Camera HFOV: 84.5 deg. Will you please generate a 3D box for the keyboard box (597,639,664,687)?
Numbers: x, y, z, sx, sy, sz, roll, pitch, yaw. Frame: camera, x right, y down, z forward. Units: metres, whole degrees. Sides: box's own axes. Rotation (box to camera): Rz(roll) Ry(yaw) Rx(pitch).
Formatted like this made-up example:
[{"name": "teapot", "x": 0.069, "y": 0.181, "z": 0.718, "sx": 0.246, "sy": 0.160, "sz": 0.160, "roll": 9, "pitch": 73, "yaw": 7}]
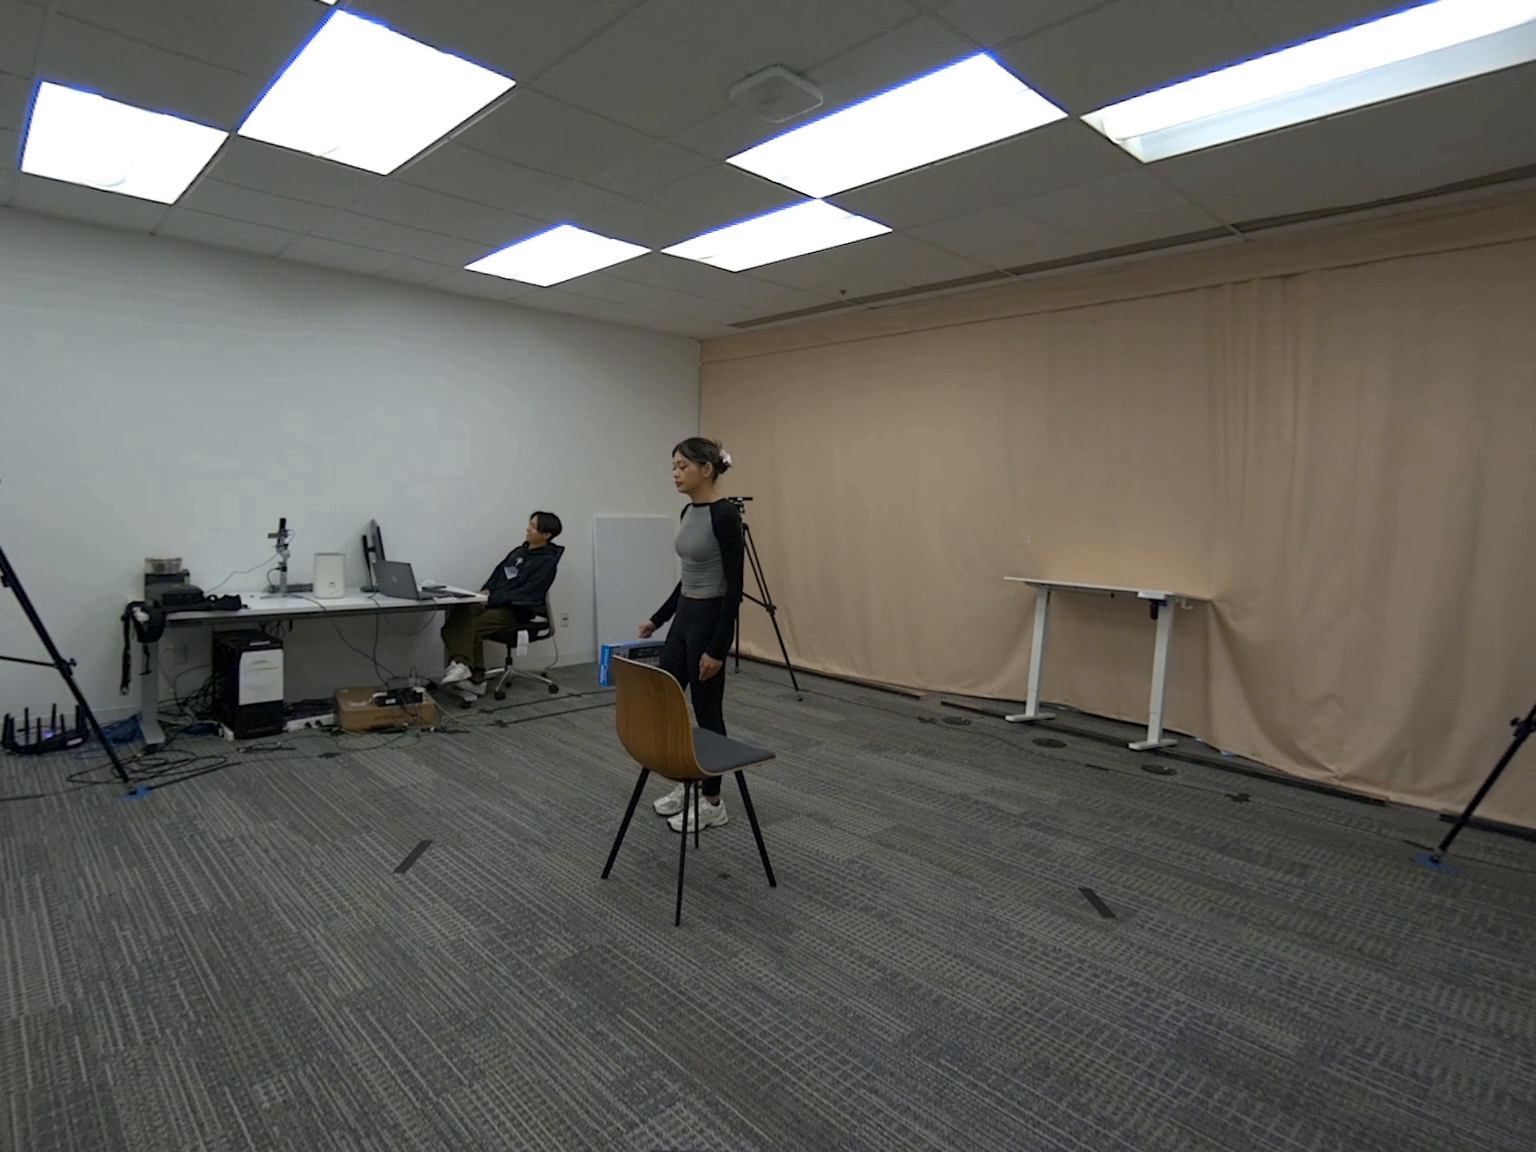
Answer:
[{"name": "keyboard box", "x": -0.545, "y": 0.374, "z": 3.686, "sx": 0.060, "sy": 0.175, "sz": 0.426, "roll": 6, "pitch": 5, "yaw": 42}]
